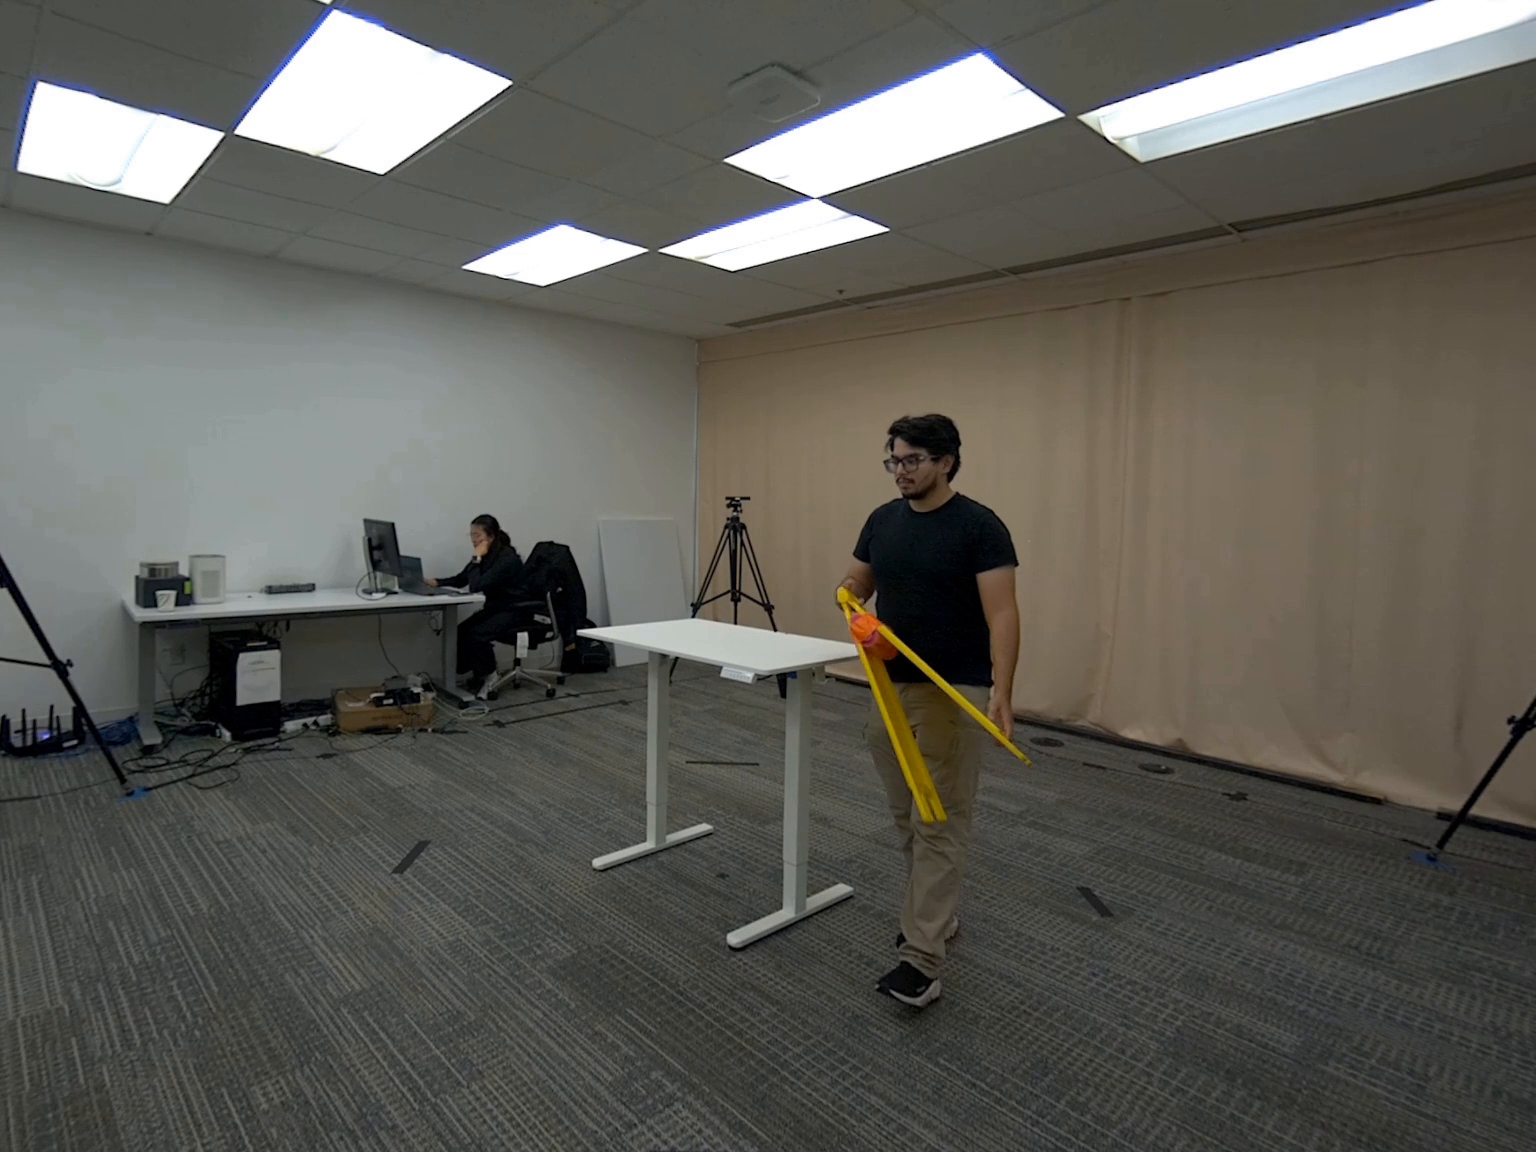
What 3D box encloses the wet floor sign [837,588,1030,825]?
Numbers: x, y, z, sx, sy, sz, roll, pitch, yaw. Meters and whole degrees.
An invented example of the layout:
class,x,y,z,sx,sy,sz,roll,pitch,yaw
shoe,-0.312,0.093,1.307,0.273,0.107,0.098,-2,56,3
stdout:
class,x,y,z,sx,sy,sz,roll,pitch,yaw
wet floor sign,0.380,0.315,2.298,0.290,0.662,0.275,-37,-25,8
